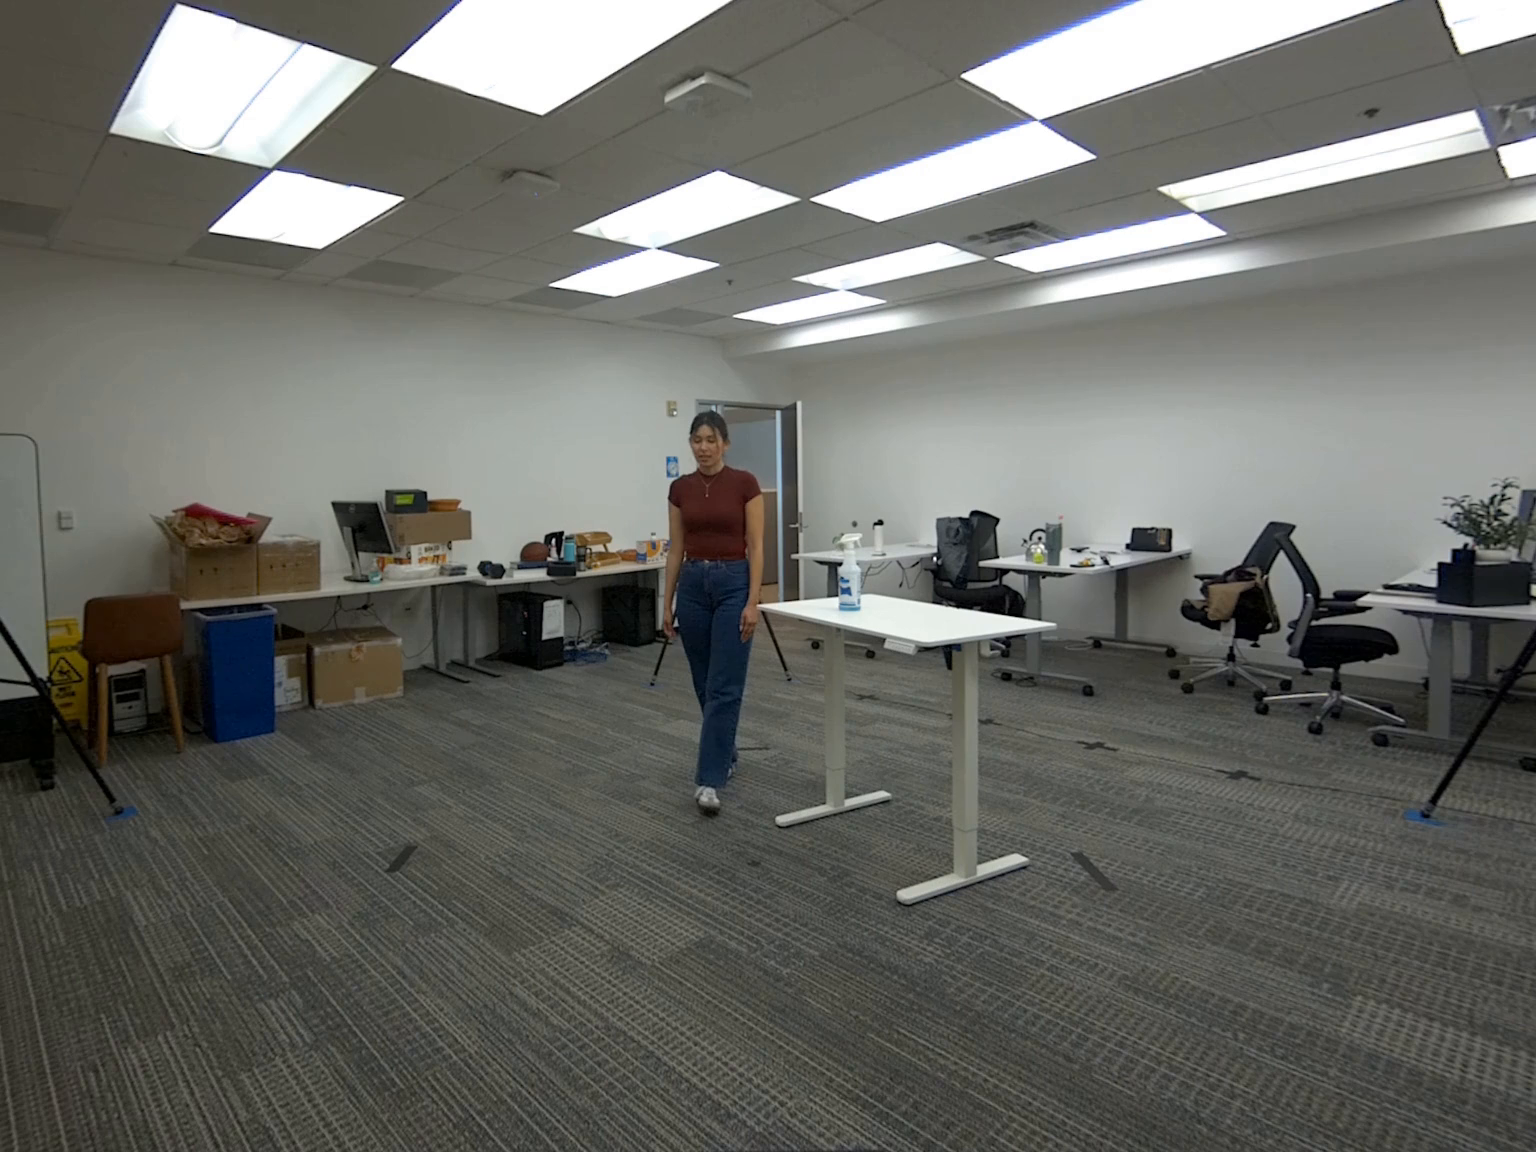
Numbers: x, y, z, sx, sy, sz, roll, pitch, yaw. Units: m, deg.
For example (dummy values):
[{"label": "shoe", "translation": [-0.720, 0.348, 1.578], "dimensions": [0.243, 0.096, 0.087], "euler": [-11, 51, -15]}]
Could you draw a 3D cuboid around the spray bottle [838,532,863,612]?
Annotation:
[{"label": "spray bottle", "translation": [0.325, -0.014, 3.332], "dimensions": [0.091, 0.296, 0.086], "euler": [0, 3, 7]}]
